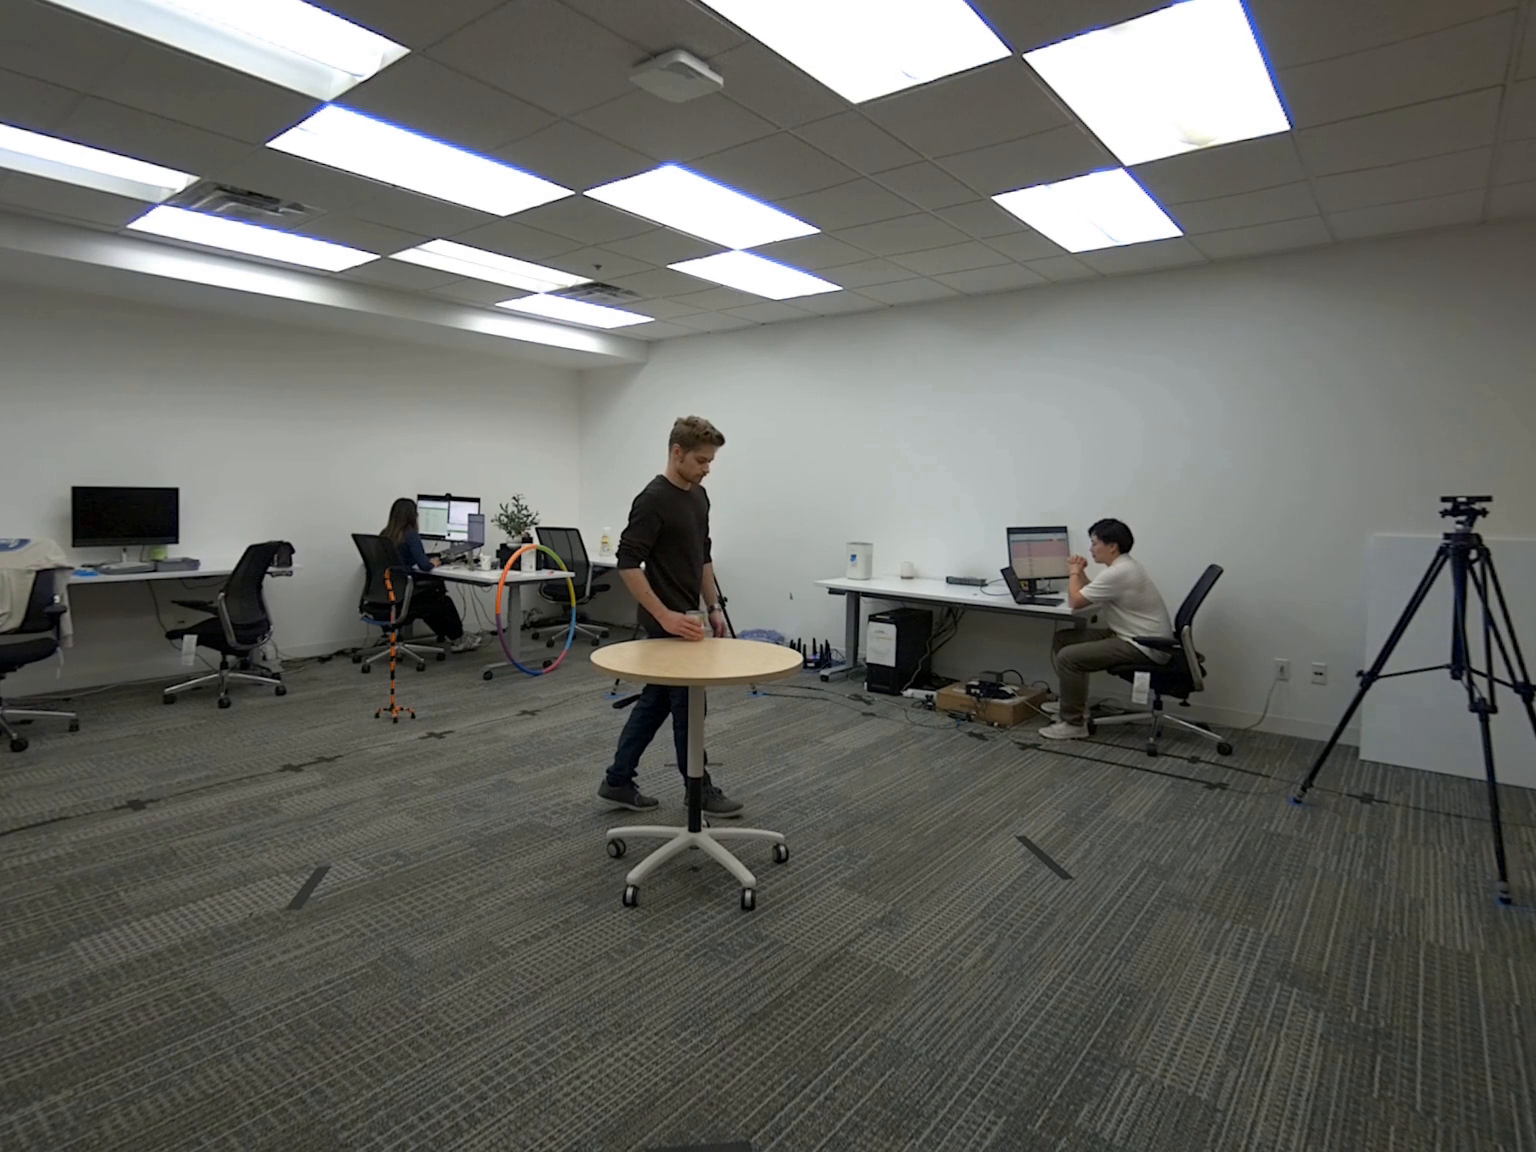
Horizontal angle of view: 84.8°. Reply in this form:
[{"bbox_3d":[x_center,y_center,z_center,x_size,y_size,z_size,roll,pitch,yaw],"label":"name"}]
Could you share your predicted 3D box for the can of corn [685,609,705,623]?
[{"bbox_3d":[-0.303,0.196,3.386,0.074,0.110,0.074,1,4,-2],"label":"can of corn"}]
